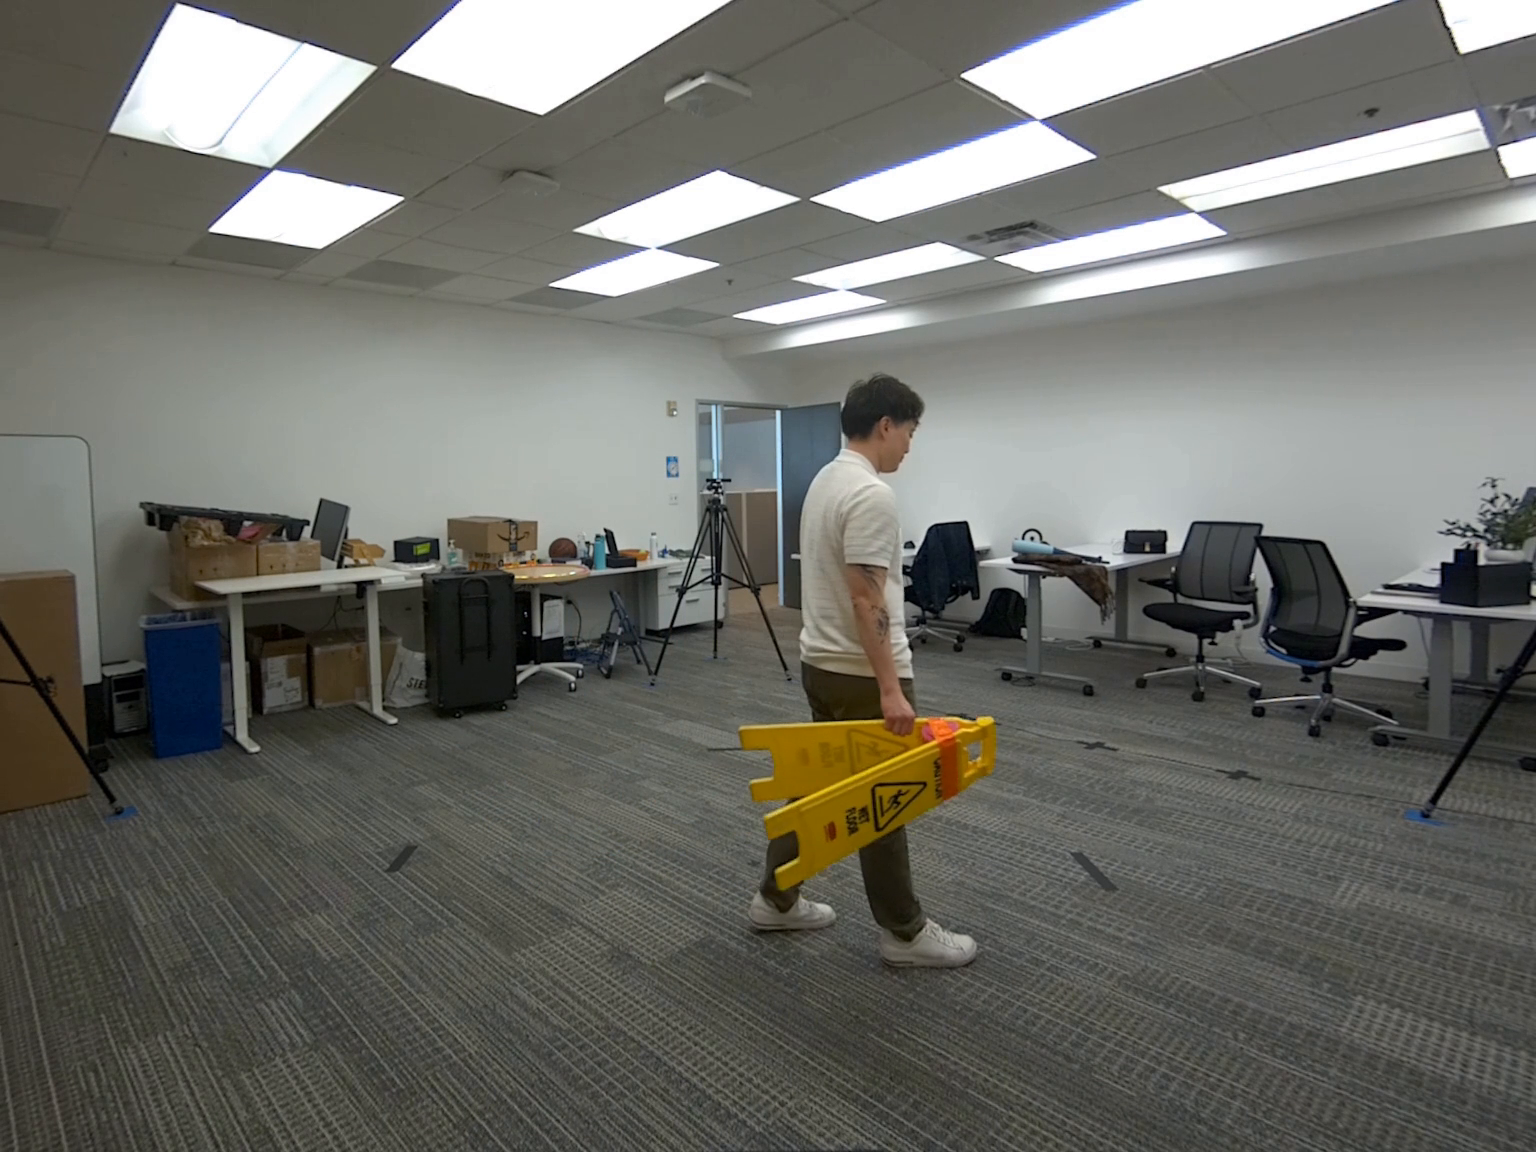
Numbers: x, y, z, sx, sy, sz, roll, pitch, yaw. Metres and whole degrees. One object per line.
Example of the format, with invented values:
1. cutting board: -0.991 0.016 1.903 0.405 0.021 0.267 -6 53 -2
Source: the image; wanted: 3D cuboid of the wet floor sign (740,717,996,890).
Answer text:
1. wet floor sign: 0.288 0.516 2.215 0.644 0.274 0.300 -15 36 -5
